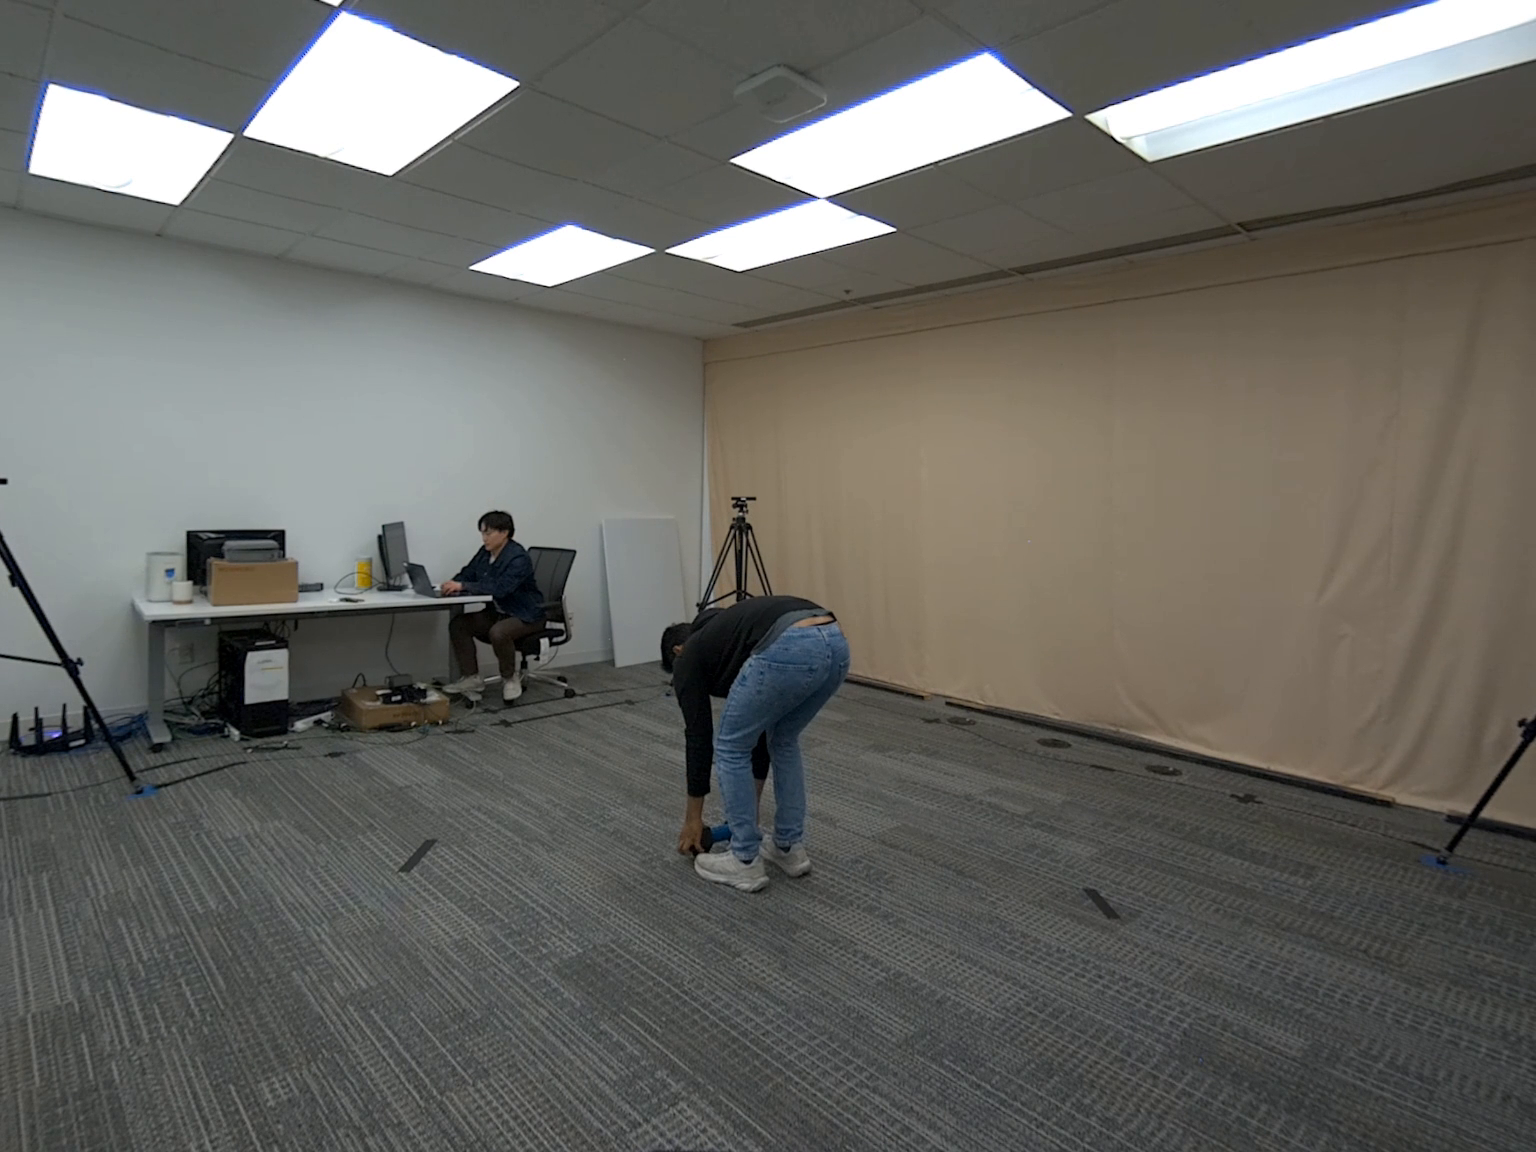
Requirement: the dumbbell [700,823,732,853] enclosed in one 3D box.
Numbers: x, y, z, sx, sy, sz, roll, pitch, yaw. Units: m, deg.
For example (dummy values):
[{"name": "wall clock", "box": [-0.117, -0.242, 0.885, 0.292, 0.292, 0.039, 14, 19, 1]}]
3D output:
[{"name": "dumbbell", "box": [-0.187, 1.009, 3.297, 0.287, 0.108, 0.126, 0, 6, -40]}]
